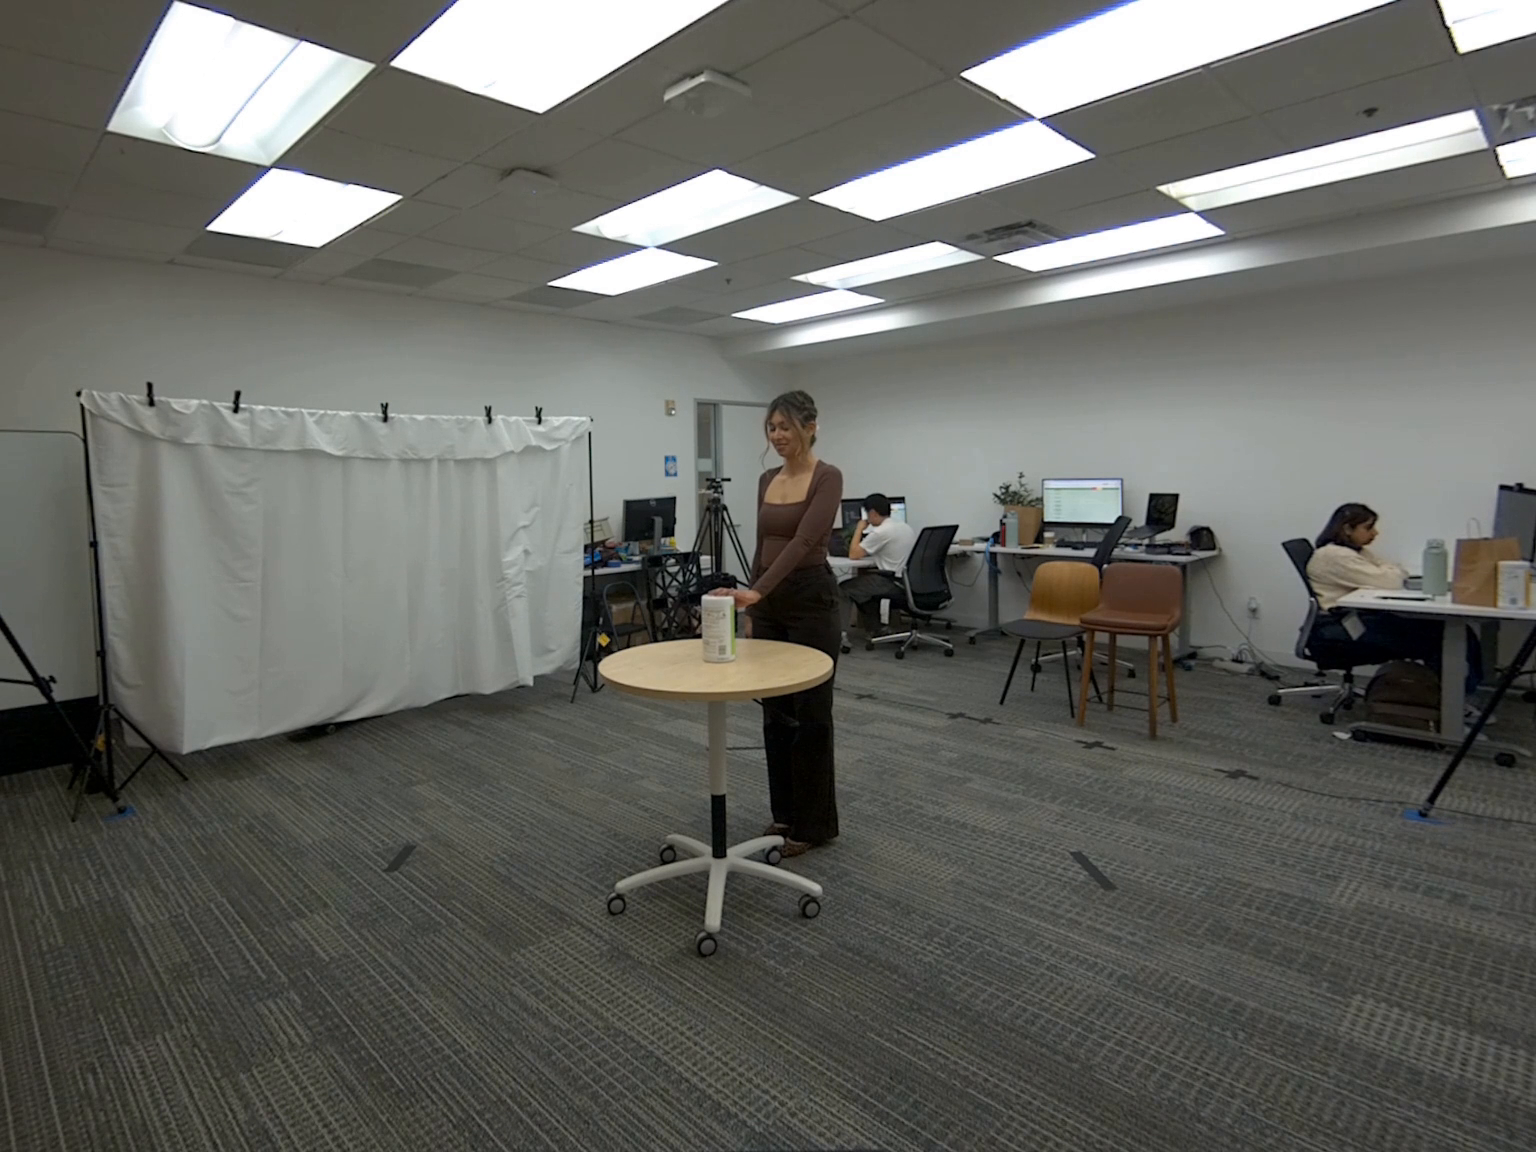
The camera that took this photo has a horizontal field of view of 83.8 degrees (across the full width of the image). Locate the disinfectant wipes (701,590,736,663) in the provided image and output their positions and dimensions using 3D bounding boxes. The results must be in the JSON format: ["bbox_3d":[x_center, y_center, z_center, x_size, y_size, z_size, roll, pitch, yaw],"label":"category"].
[{"bbox_3d":[-0.158,0.173,2.822,0.118,0.217,0.118,0,3,-2],"label":"disinfectant wipes"}]
